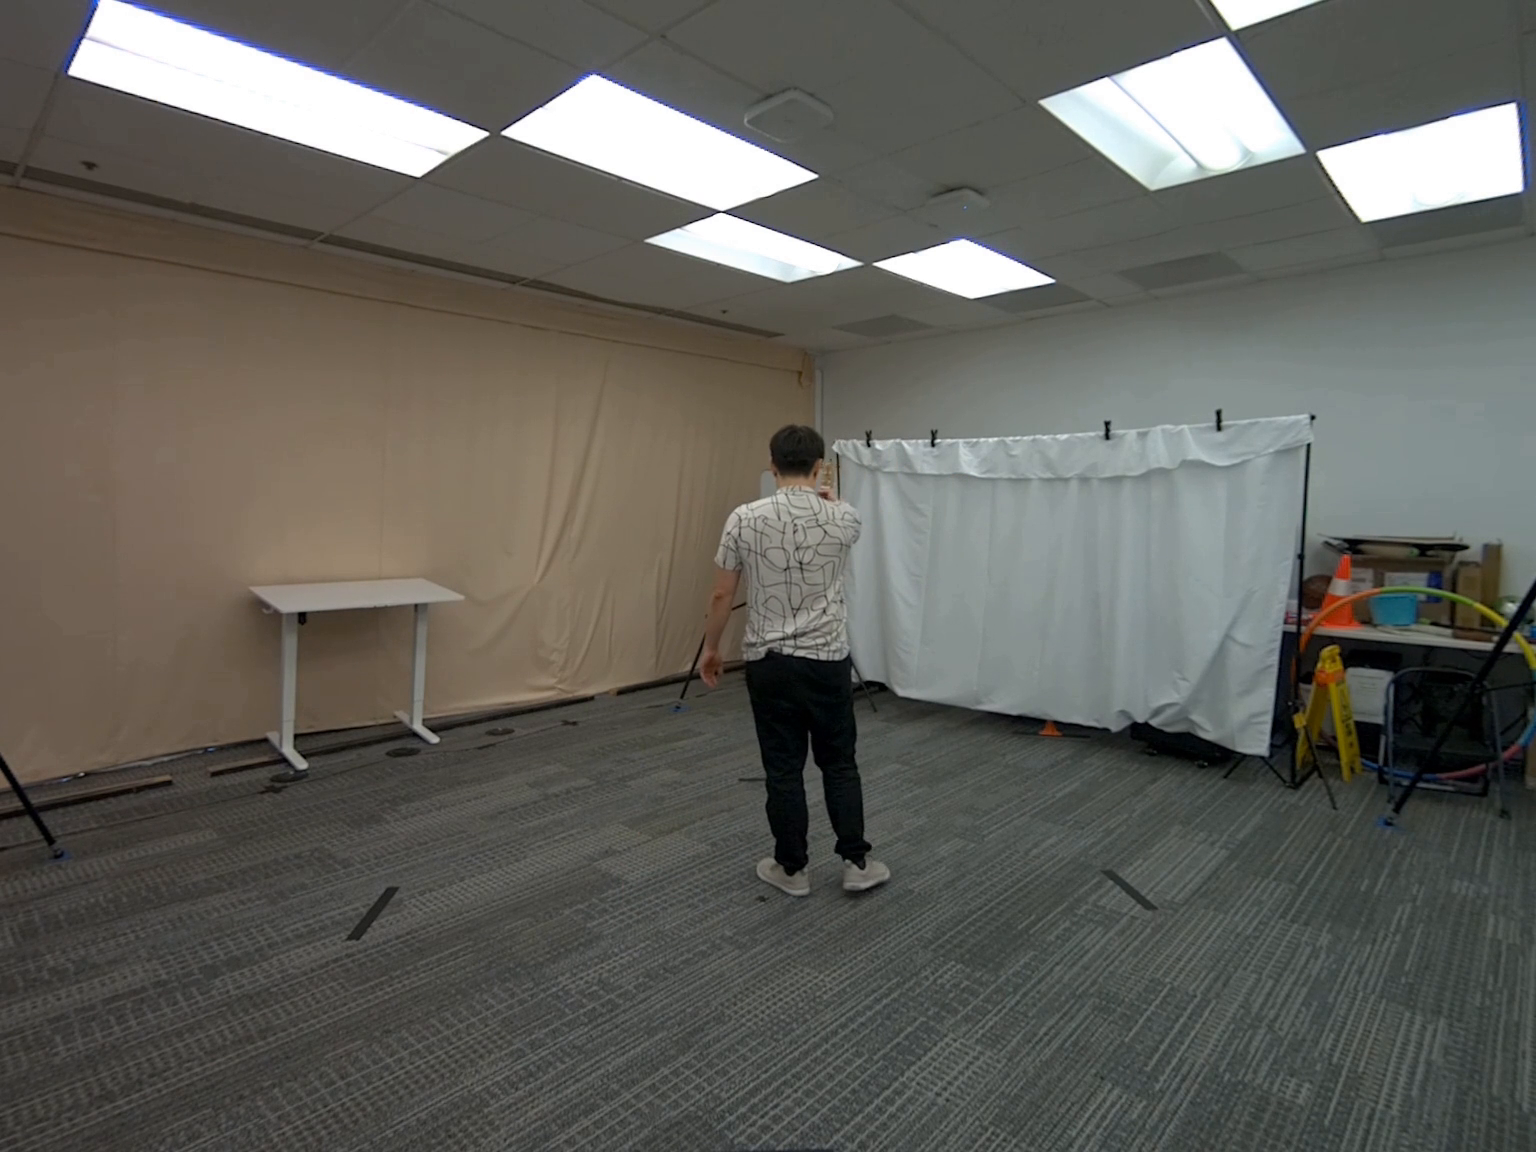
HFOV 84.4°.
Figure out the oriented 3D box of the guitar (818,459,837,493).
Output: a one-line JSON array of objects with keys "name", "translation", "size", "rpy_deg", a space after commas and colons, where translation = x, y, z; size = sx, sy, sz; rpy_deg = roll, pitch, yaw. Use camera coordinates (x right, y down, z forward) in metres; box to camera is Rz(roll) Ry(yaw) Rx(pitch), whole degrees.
[{"name": "guitar", "translation": [0.260, -0.236, 3.527], "size": [0.199, 0.498, 0.068], "rpy_deg": [17, -2, 32]}]
